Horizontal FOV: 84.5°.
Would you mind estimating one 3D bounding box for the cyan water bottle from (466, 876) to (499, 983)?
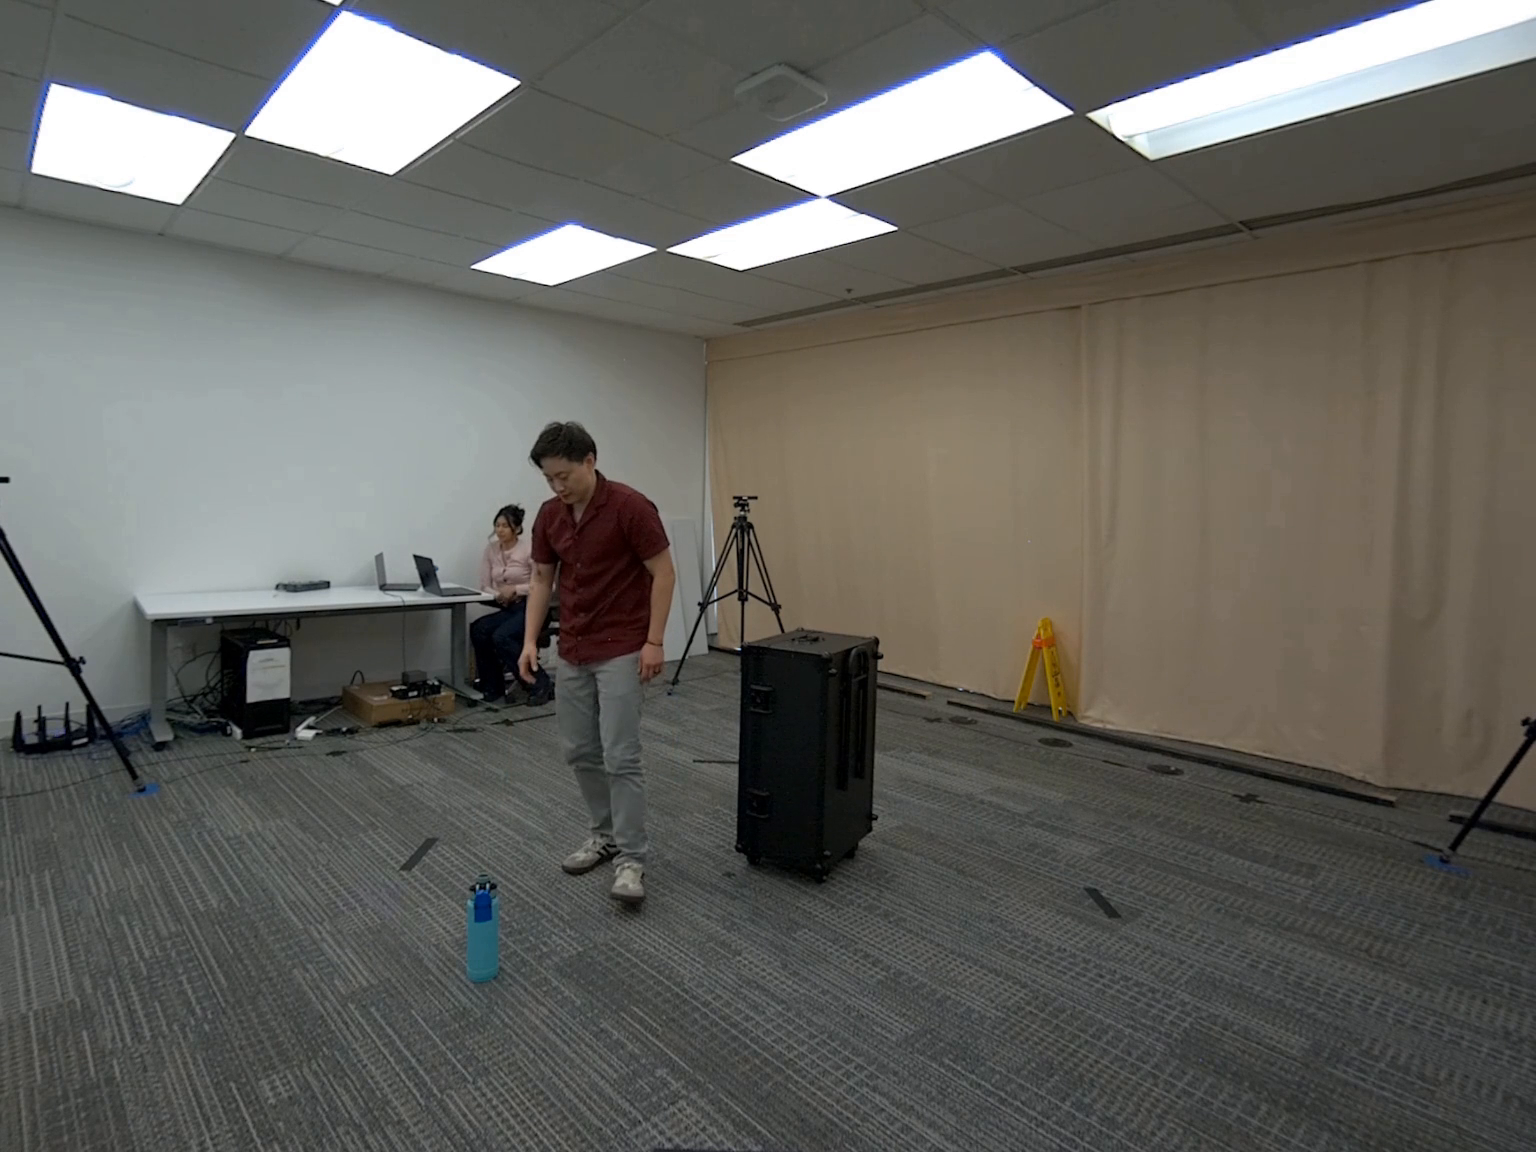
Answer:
[{"bbox_3d":[-0.836,1.015,2.414,0.092,0.282,0.093,3,5,-2],"label":"cyan water bottle"}]
